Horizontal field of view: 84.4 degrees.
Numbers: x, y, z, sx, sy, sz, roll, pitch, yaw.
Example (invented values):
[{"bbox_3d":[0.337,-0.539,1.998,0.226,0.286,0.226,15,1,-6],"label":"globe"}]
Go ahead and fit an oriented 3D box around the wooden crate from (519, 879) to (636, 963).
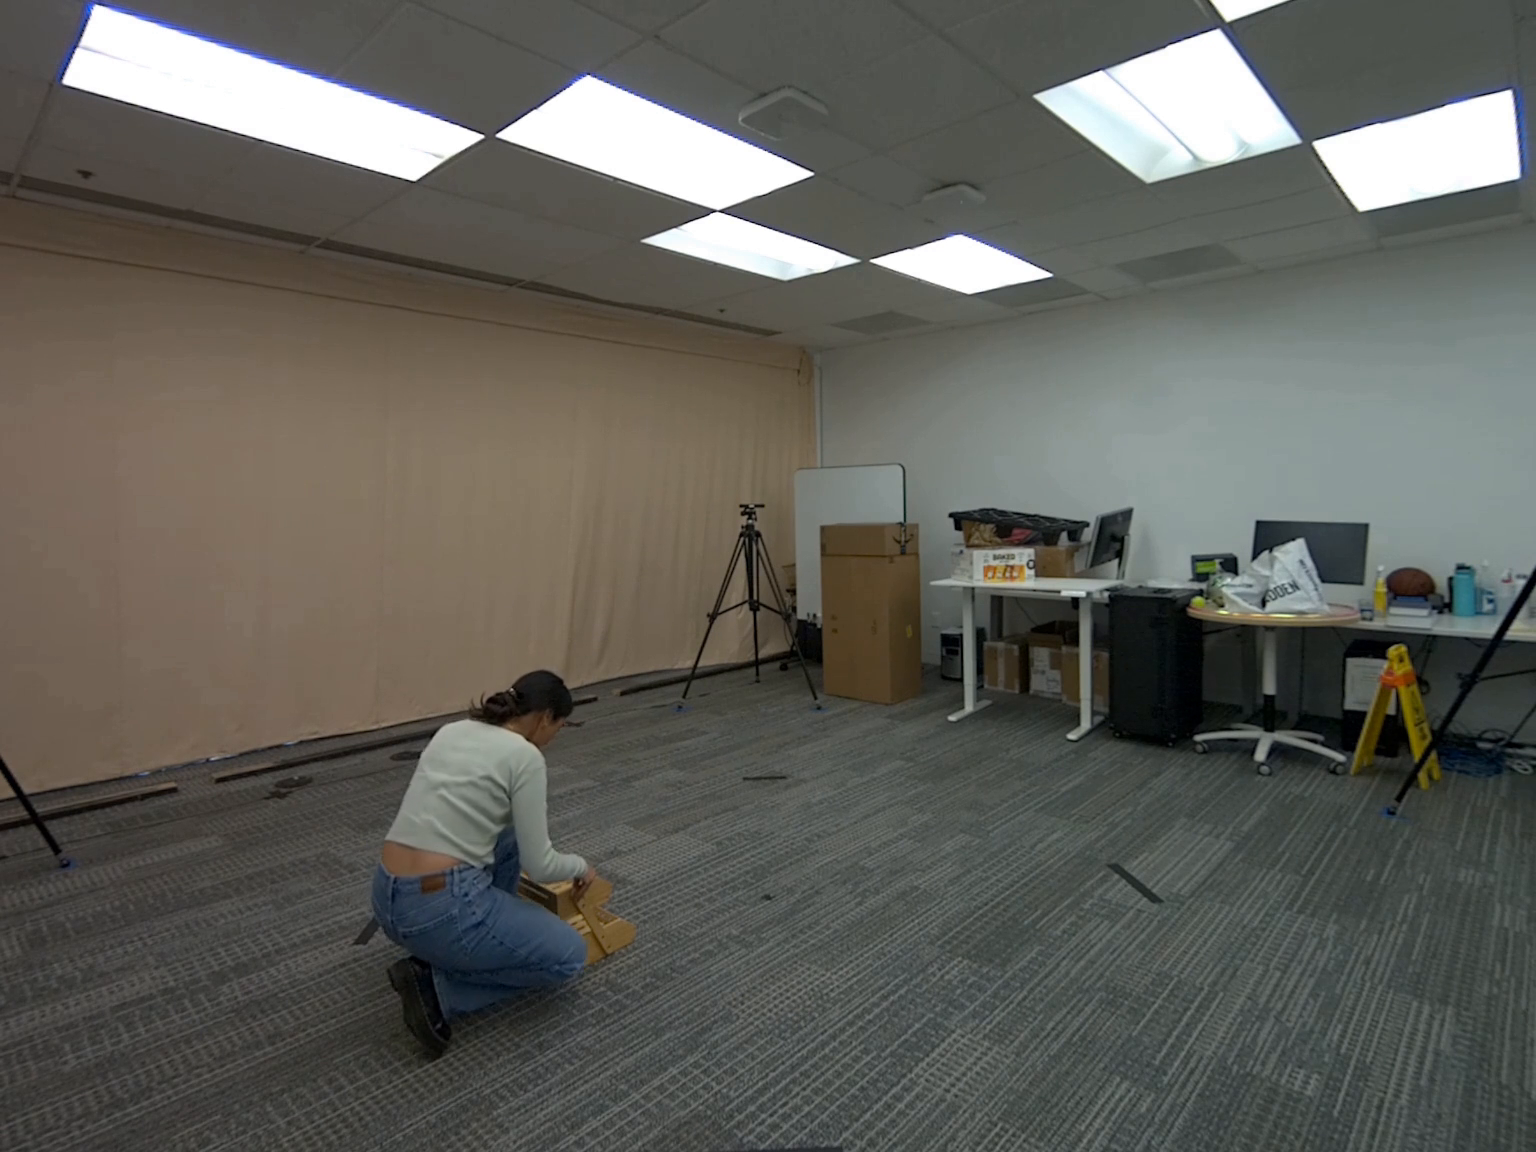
[{"bbox_3d":[-0.635,1.041,2.698,0.335,0.272,0.293,2,6,41],"label":"wooden crate"}]
